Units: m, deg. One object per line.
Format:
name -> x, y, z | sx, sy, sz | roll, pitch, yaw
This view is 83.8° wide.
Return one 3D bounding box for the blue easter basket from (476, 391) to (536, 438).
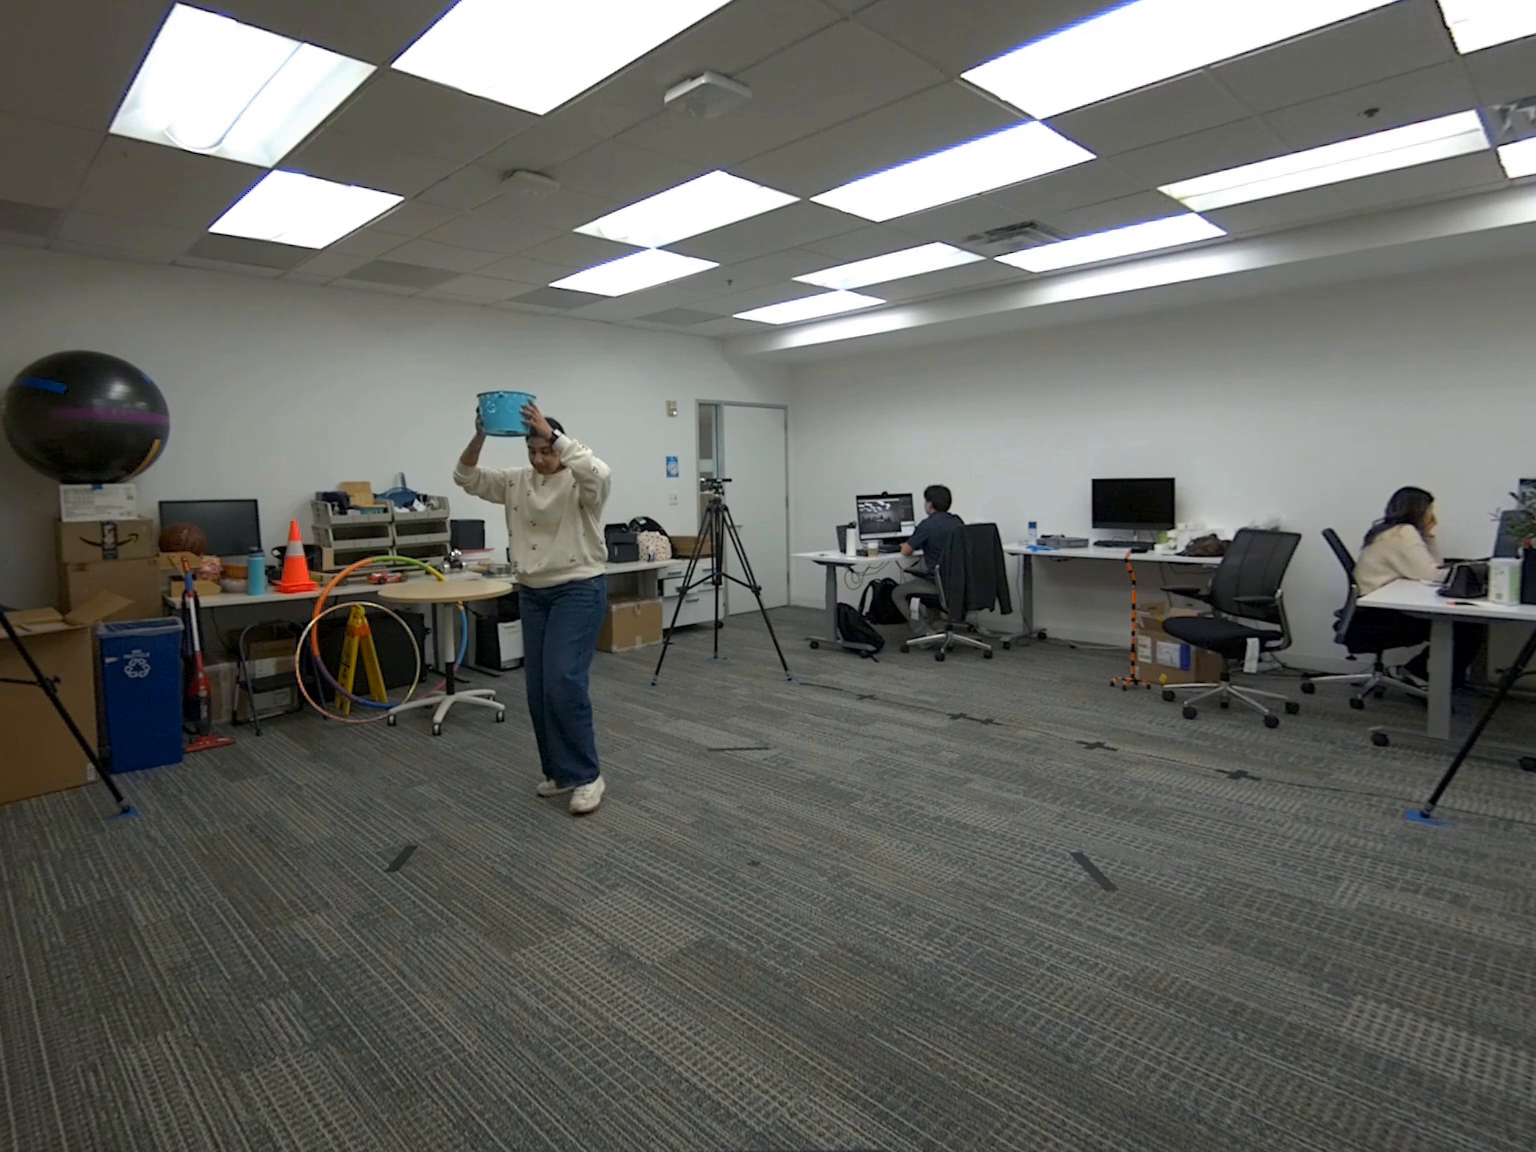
blue easter basket -> -1.067, -0.654, 3.449 | 0.243, 0.156, 0.244 | 1, 2, -2
